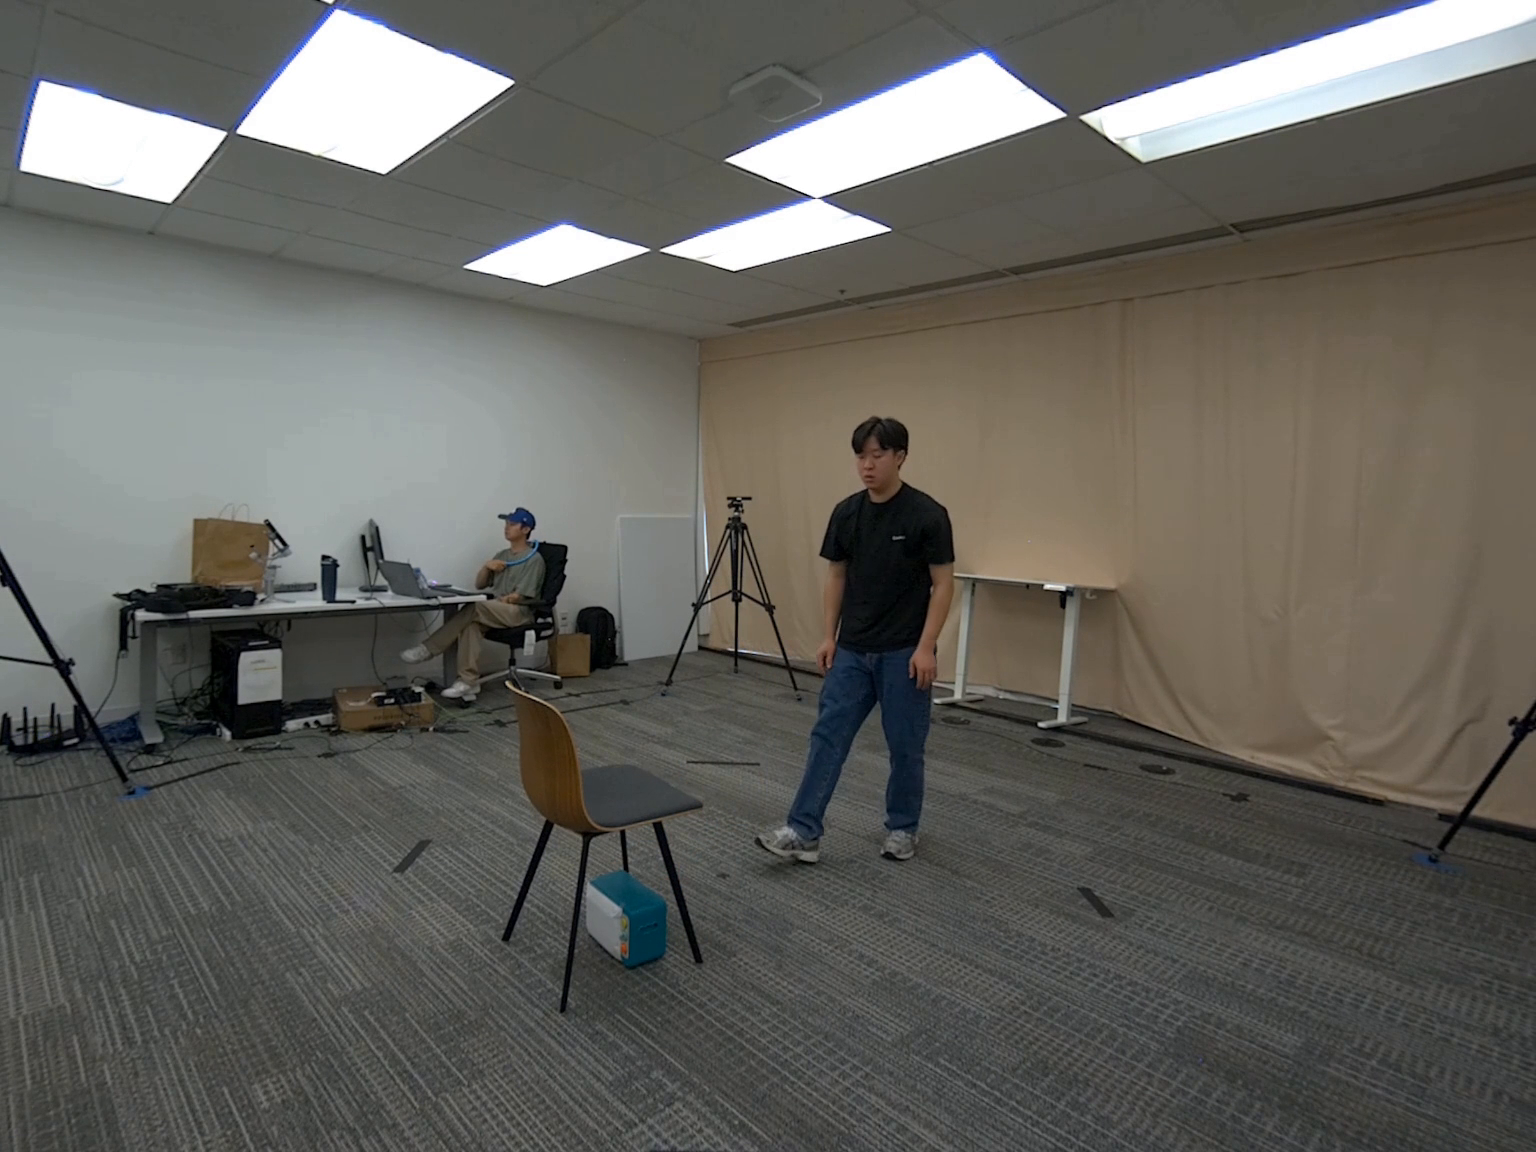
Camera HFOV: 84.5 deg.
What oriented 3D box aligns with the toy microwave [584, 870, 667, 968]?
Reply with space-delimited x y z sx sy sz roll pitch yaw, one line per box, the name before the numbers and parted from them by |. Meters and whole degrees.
toy microwave | -0.447 1.059 2.585 0.149 0.183 0.293 -2 5 -37
